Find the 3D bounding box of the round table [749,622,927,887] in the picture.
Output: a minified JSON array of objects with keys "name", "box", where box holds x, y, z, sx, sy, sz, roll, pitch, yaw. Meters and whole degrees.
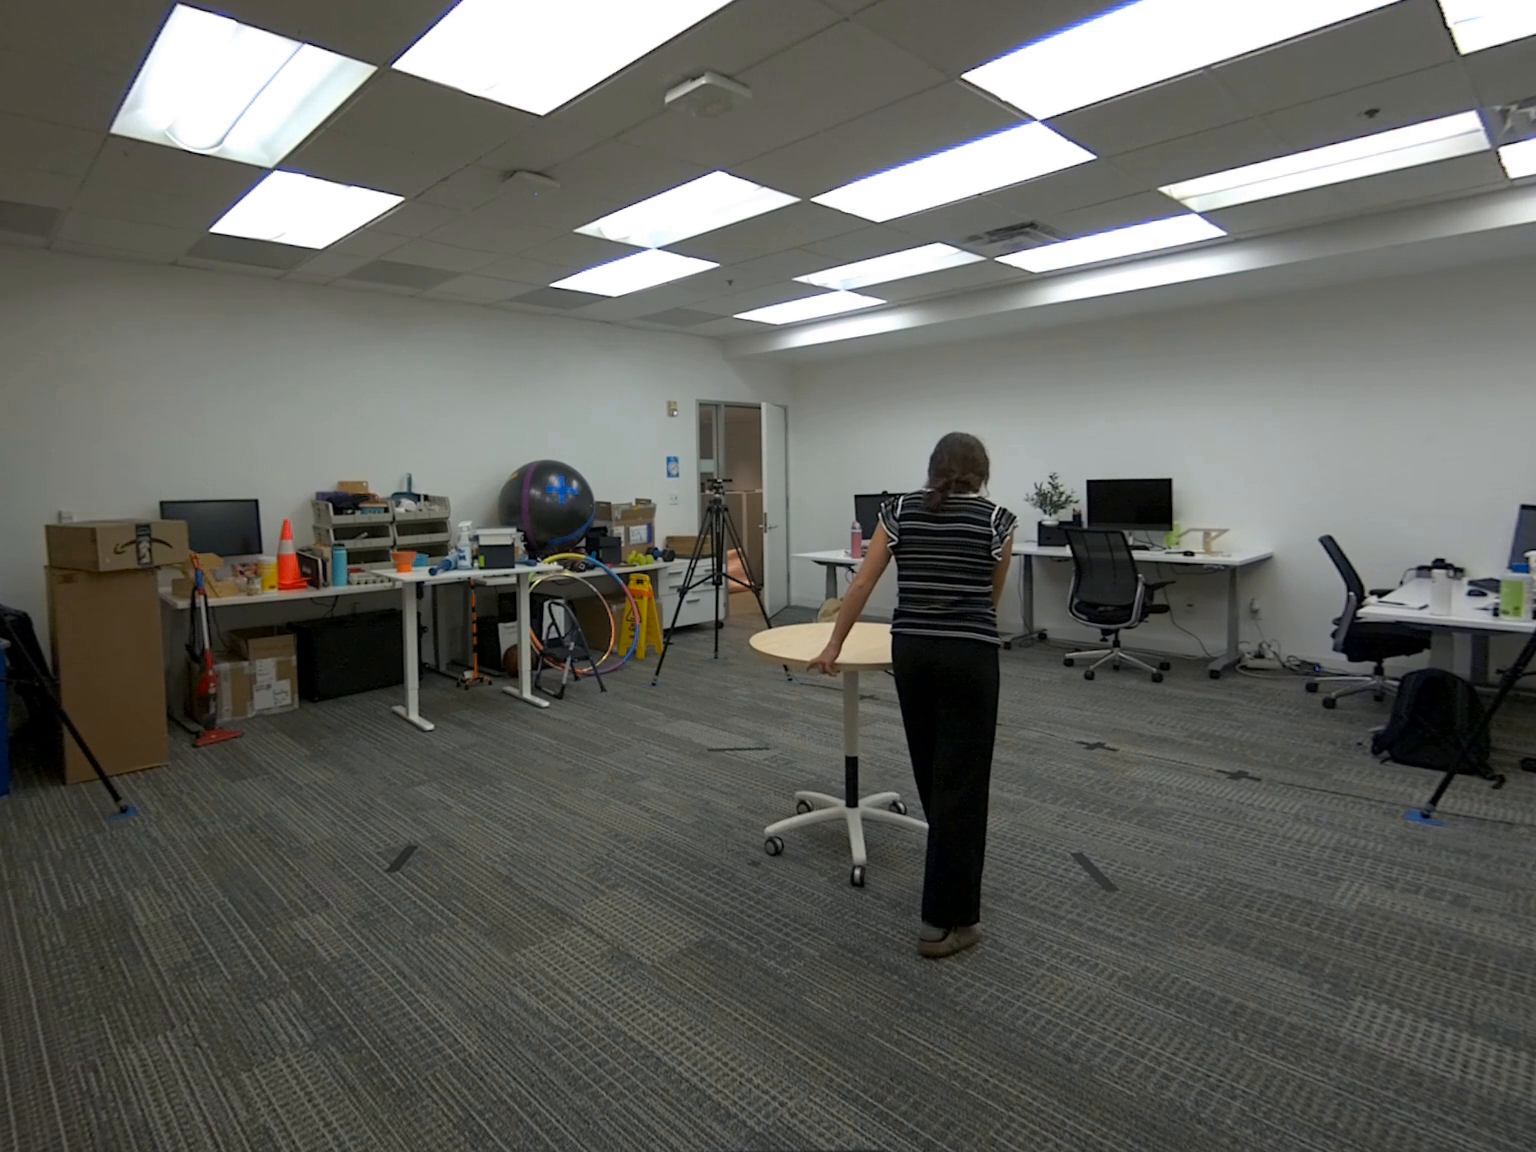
[{"name":"round table","box":[0.314,0.634,3.255,0.763,0.791,0.768,-1,5,-2]}]
